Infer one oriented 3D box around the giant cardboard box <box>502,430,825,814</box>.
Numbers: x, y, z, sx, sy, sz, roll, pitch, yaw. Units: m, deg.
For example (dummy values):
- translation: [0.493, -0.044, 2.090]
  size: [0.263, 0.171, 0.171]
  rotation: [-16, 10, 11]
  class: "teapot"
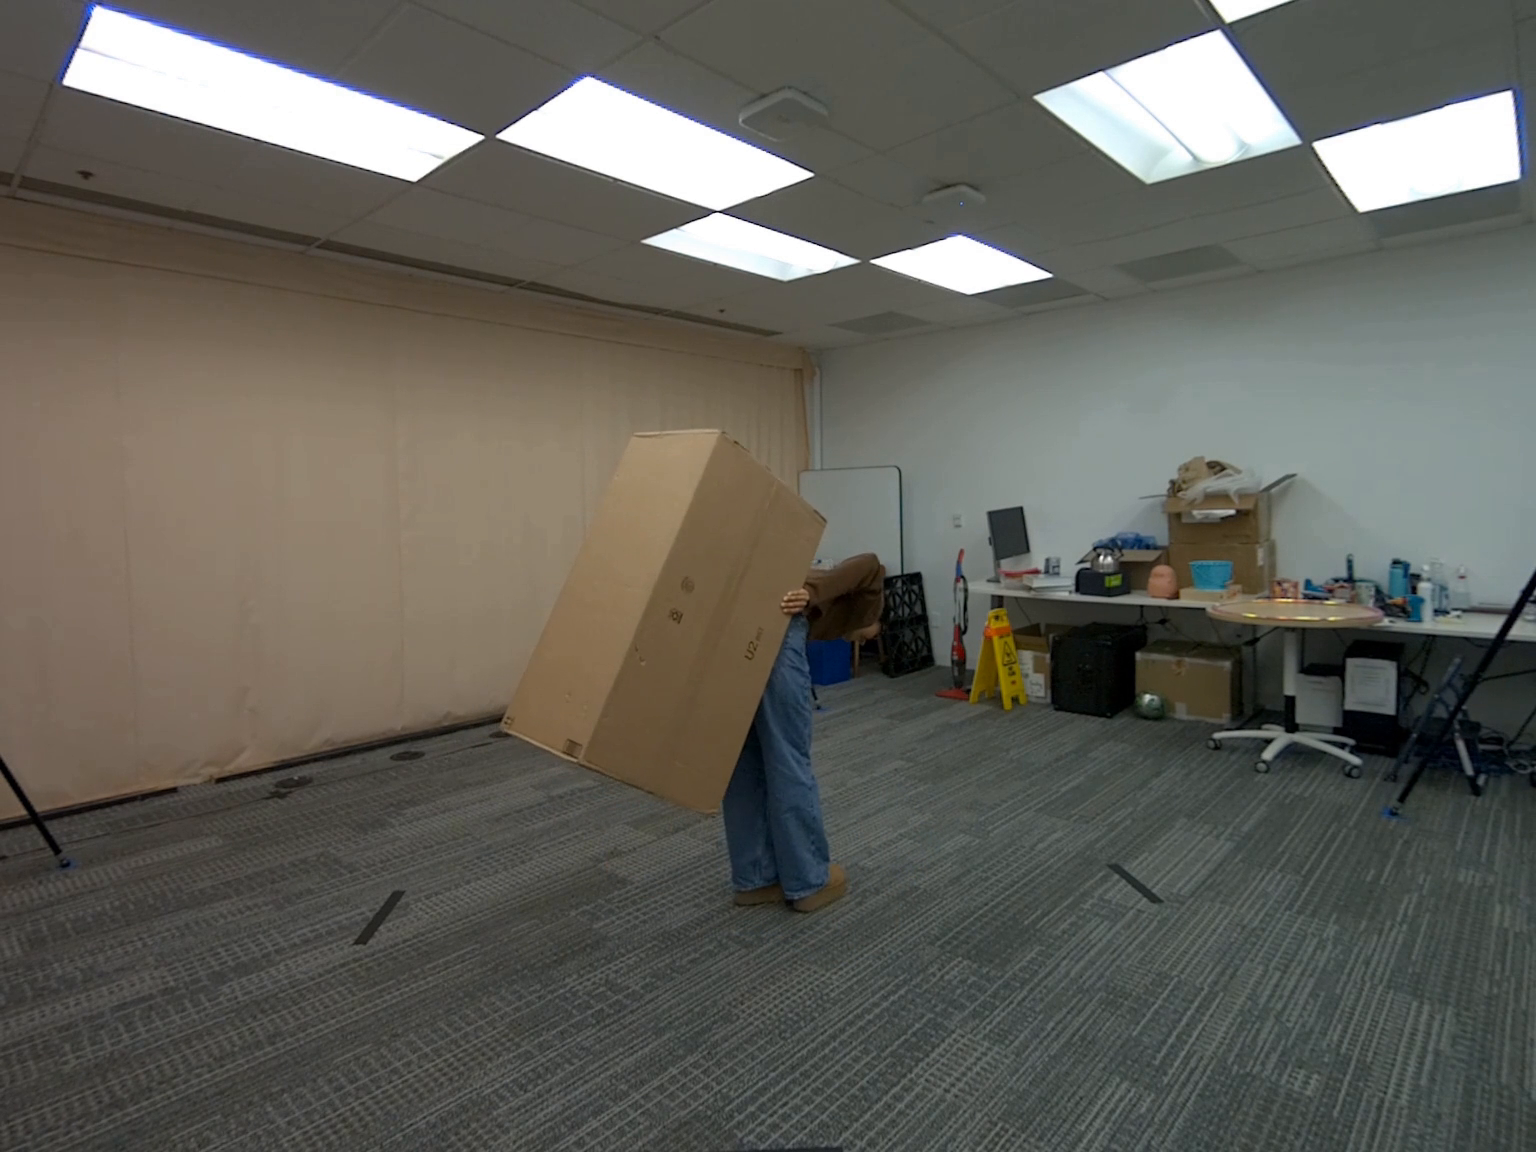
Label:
- translation: [-0.298, 0.138, 2.651]
  size: [0.462, 1.029, 0.563]
  rotation: [7, -21, 44]
  class: "giant cardboard box"
